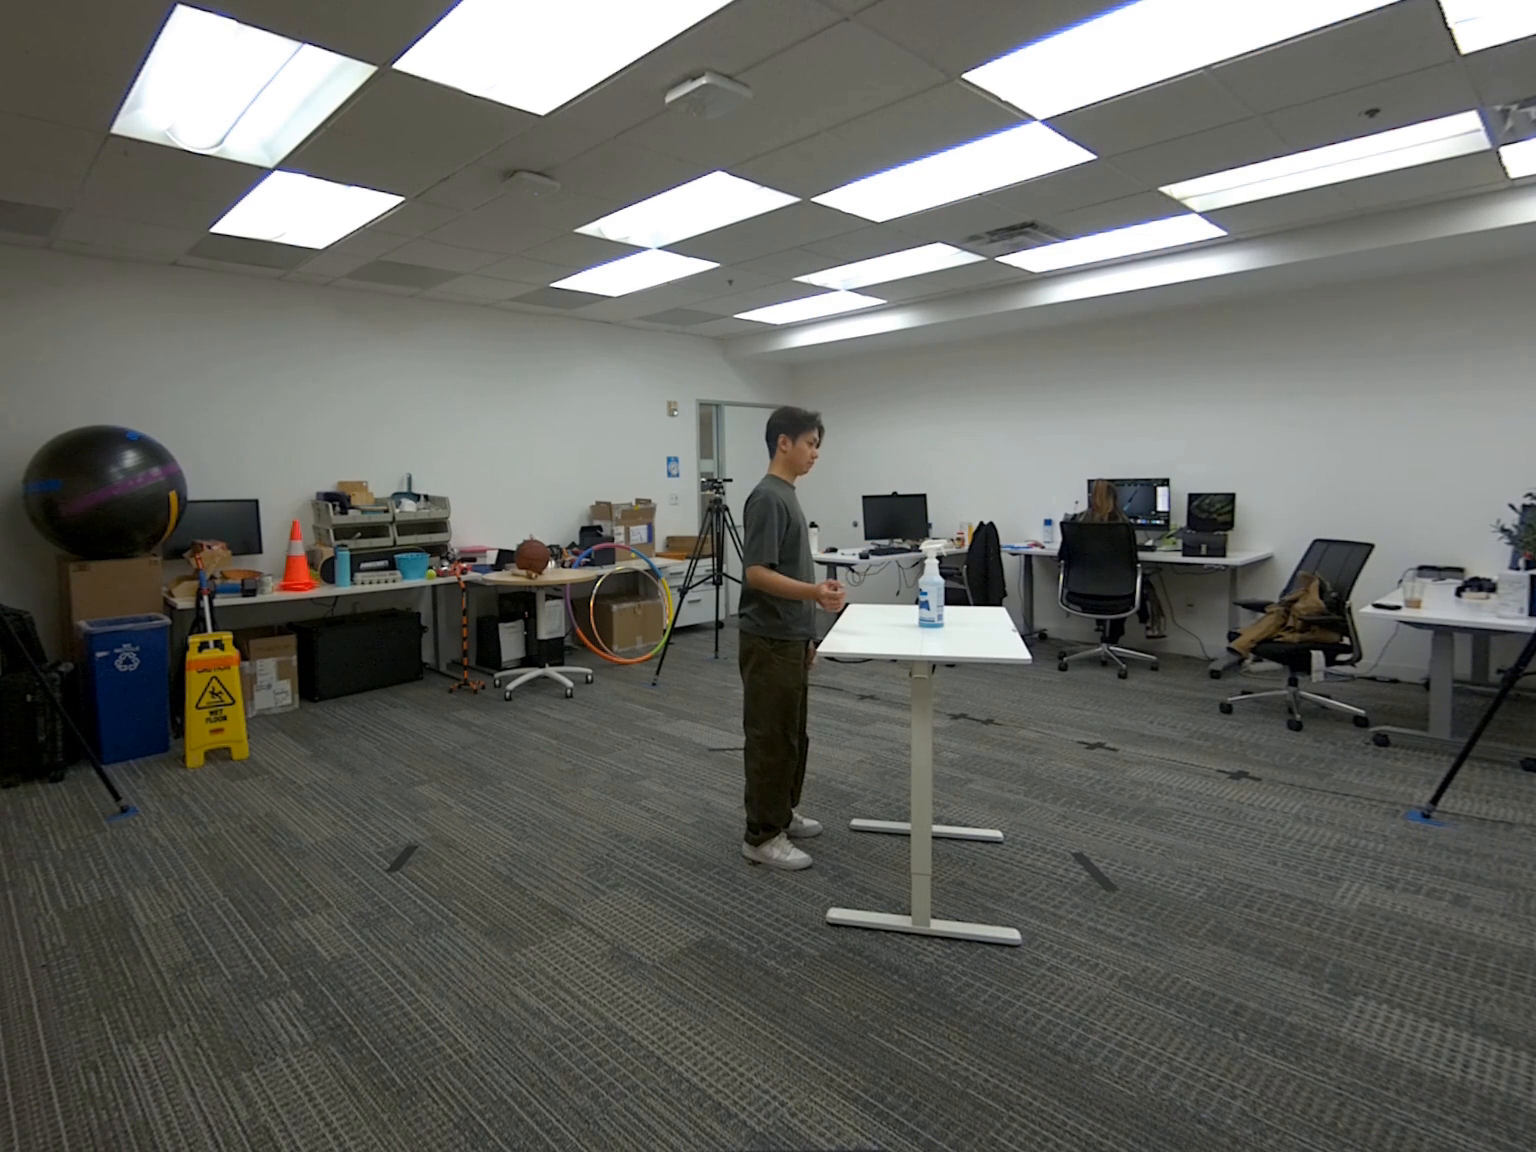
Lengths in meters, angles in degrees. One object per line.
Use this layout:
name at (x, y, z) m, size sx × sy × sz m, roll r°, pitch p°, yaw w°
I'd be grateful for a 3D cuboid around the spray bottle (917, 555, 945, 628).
spray bottle at (0.561, 0.026, 2.922) m, size 0.092 × 0.296 × 0.085 m, roll 2°, pitch 3°, yaw 27°
